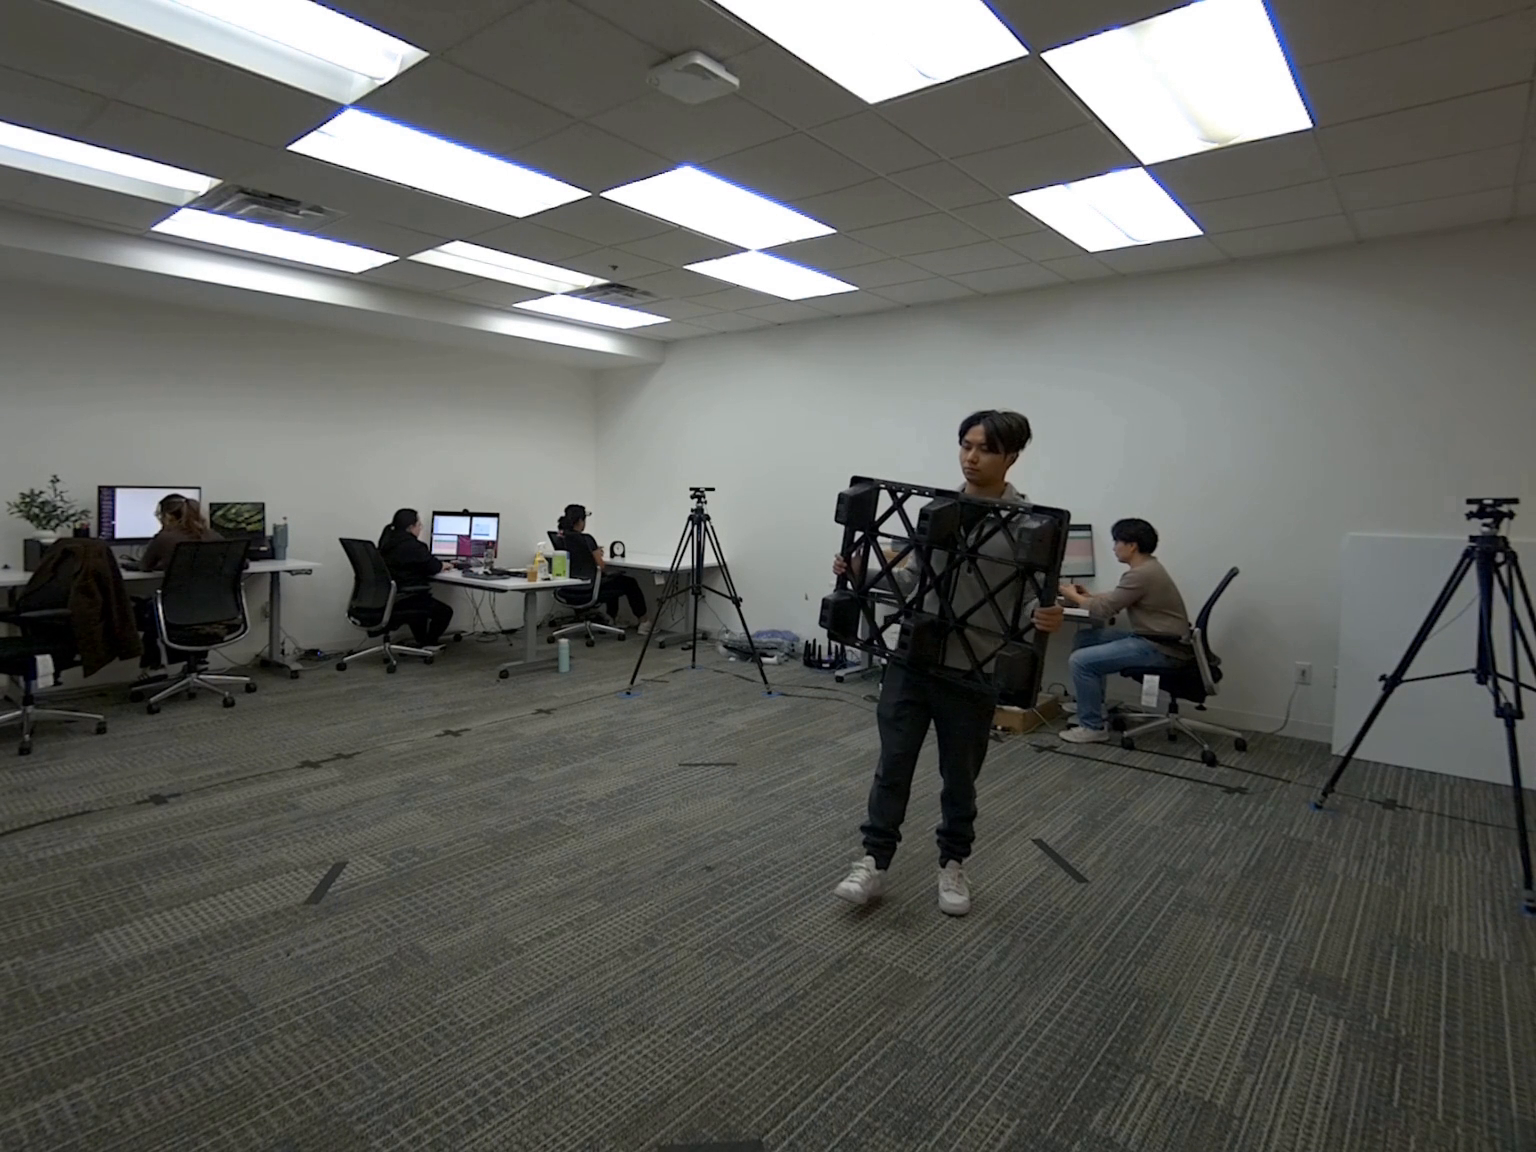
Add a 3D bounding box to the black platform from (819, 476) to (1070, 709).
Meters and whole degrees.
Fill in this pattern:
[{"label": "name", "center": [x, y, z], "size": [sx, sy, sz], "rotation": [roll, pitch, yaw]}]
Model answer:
[{"label": "black platform", "center": [0.492, 0.018, 2.740], "size": [0.139, 0.602, 0.837], "rotation": [2, 10, -43]}]
